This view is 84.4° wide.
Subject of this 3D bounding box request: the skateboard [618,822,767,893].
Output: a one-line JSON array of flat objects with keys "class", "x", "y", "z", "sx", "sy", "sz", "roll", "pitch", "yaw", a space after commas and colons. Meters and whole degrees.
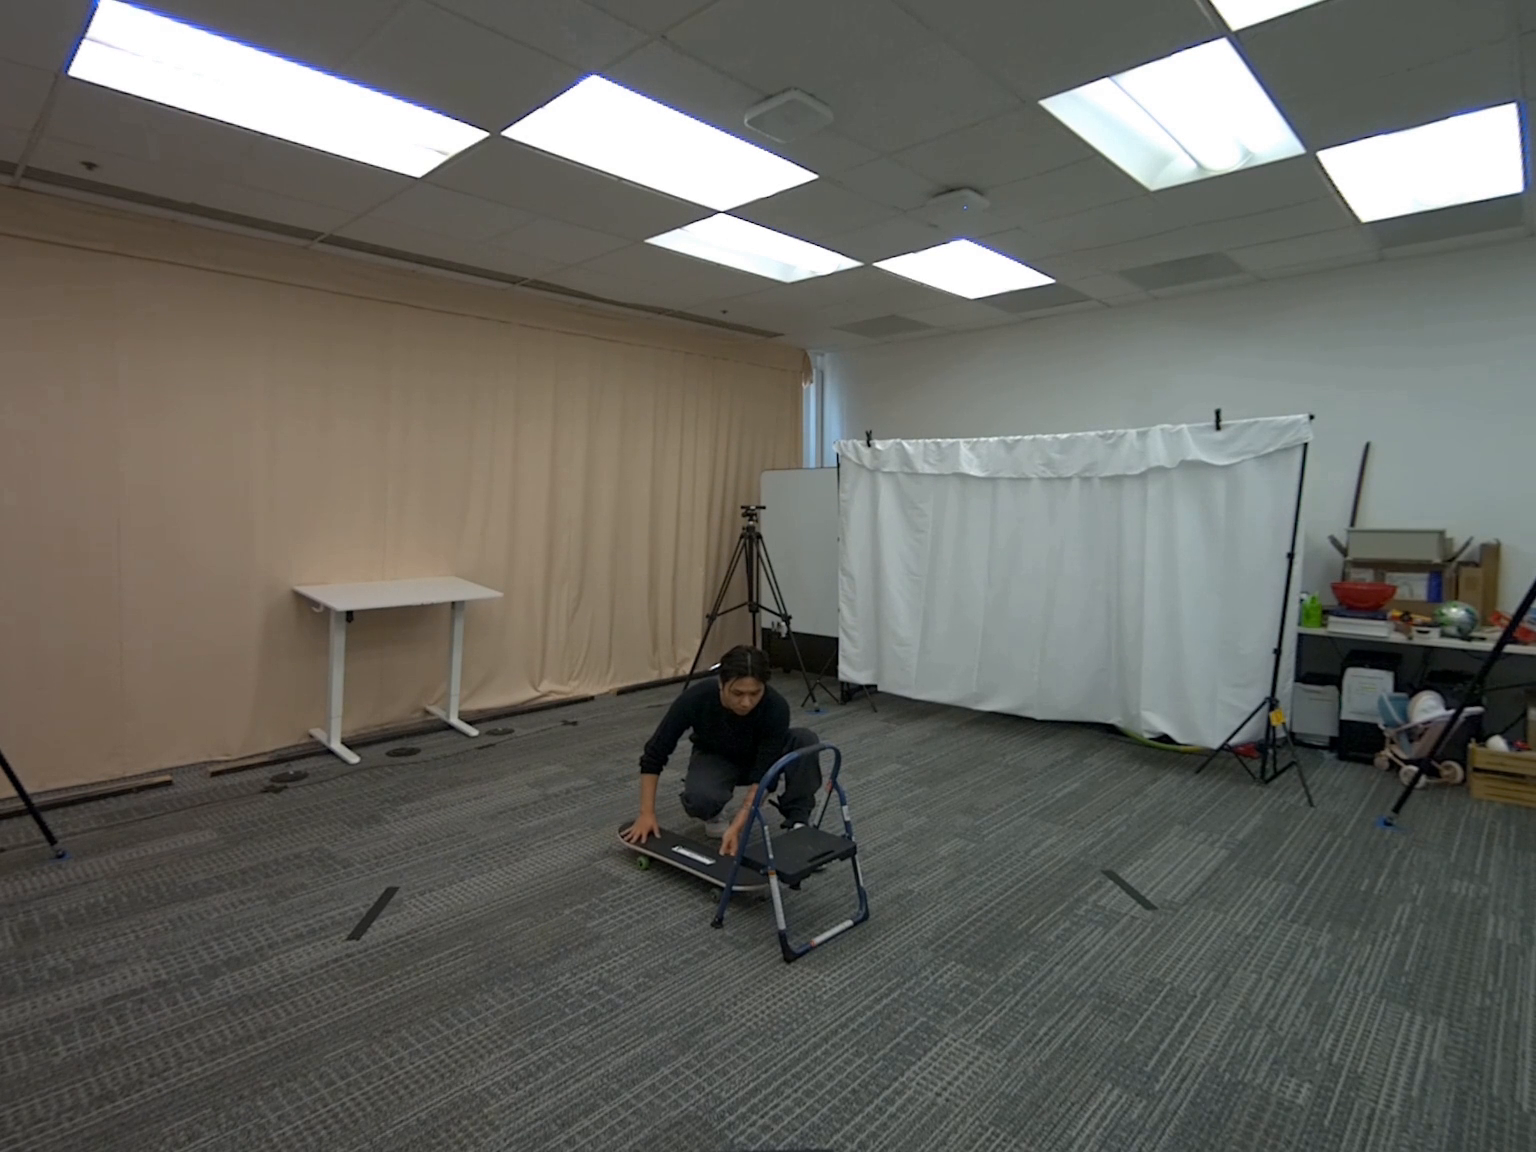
[{"class": "skateboard", "x": -0.264, "y": 1.072, "z": 3.156, "sx": 0.812, "sy": 0.110, "sz": 0.188, "roll": 4, "pitch": 7, "yaw": 42}]
